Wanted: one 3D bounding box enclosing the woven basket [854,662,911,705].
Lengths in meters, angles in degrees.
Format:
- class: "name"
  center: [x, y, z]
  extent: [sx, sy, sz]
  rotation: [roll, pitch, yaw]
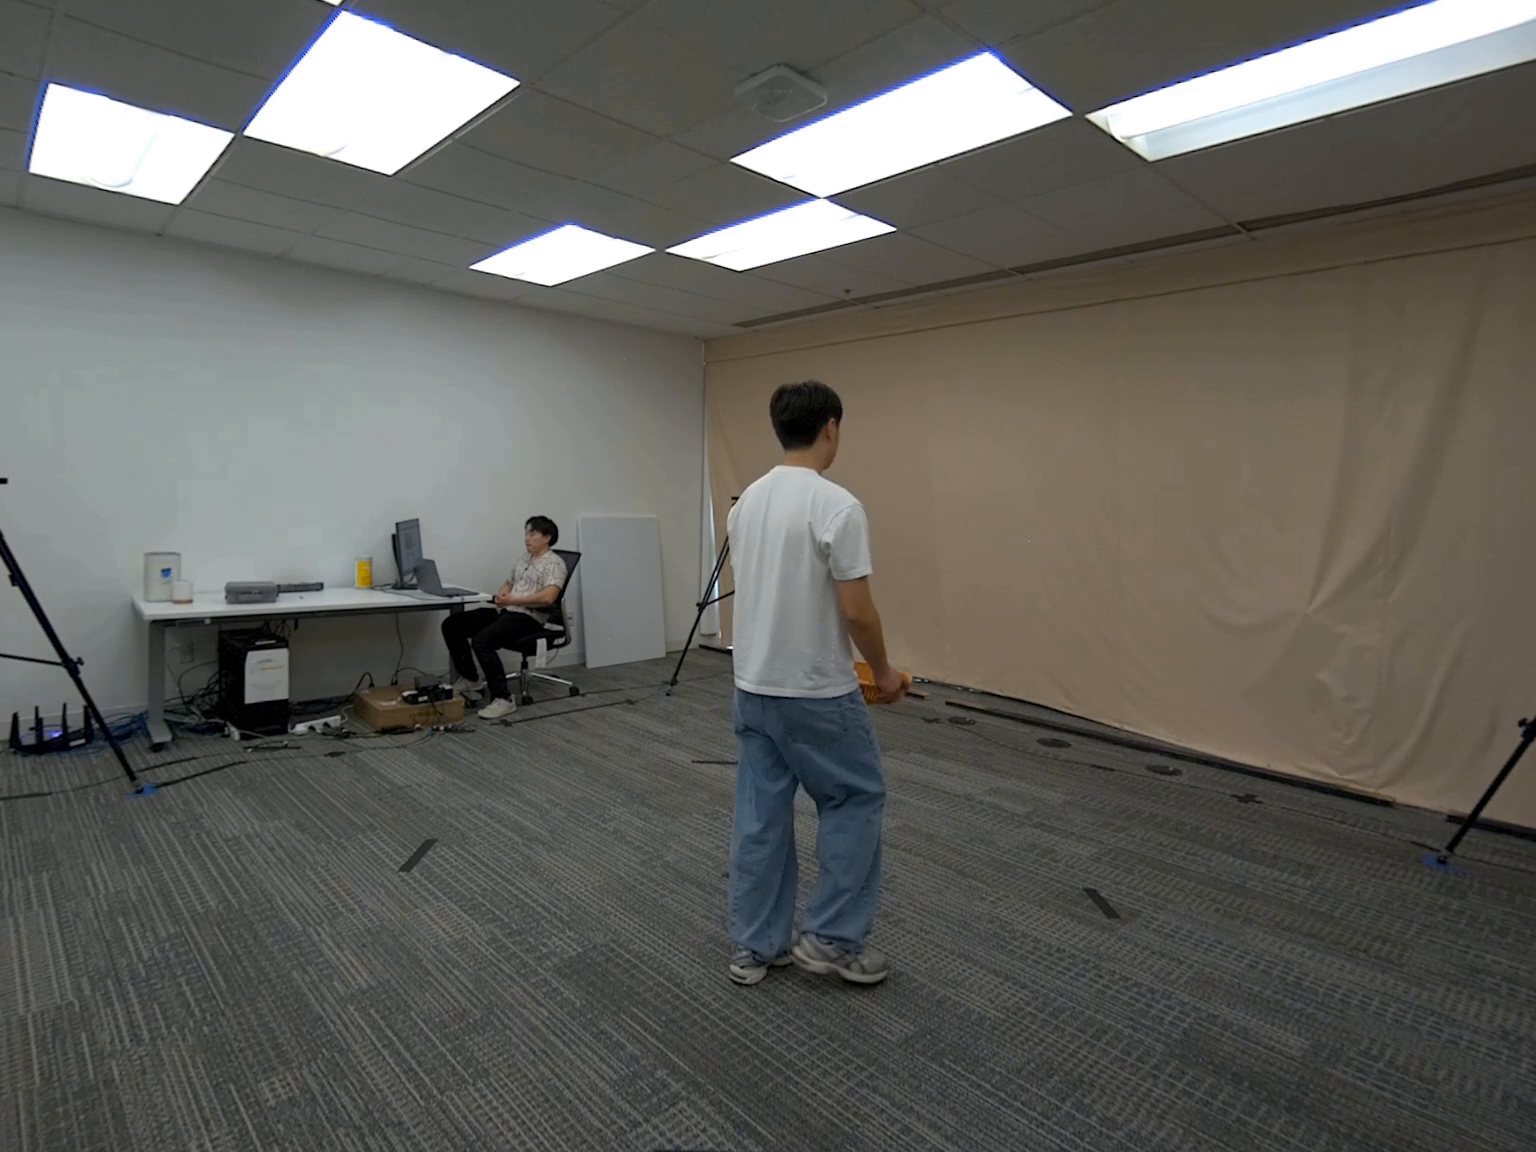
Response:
- class: "woven basket"
  center: [0.291, 0.348, 2.630]
  extent: [0.247, 0.073, 0.359]
  rotation: [-2, 7, -33]
